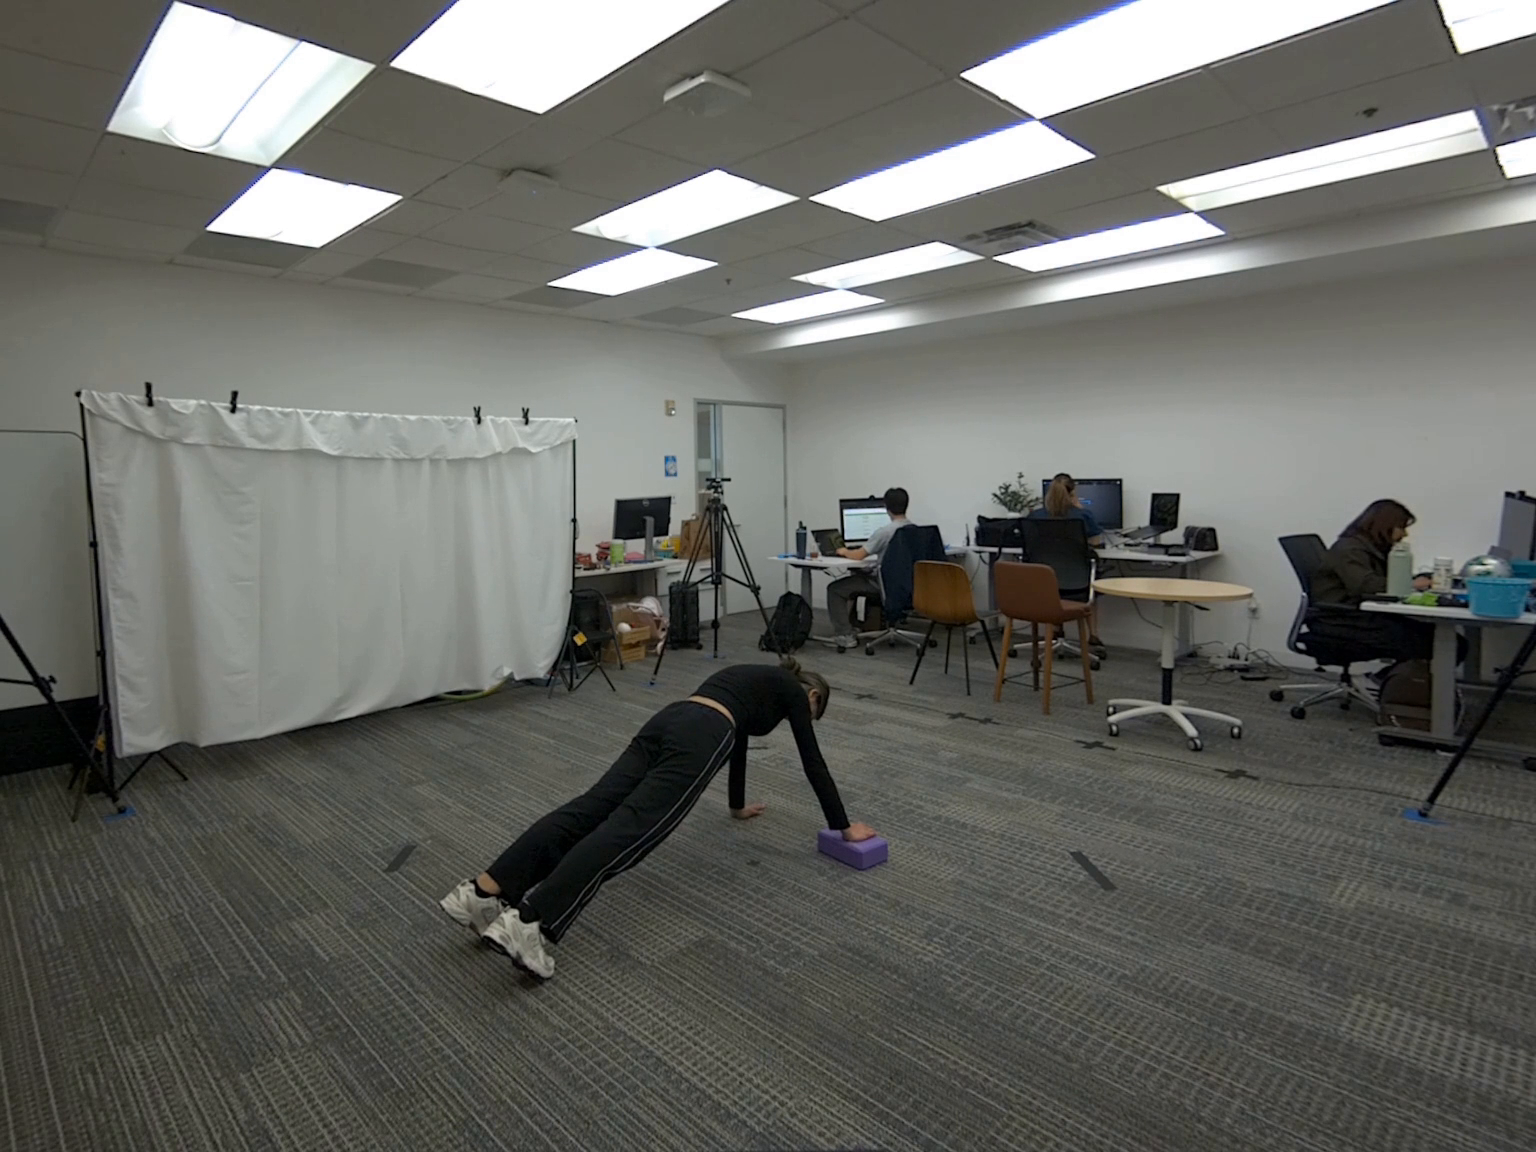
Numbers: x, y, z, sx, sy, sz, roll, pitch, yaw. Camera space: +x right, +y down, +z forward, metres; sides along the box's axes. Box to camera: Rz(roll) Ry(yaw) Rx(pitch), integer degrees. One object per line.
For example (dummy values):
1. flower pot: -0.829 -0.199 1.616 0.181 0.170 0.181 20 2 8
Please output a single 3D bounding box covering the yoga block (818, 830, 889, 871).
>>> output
1. yoga block: 0.309 0.993 3.152 0.145 0.076 0.237 -5 9 -37
